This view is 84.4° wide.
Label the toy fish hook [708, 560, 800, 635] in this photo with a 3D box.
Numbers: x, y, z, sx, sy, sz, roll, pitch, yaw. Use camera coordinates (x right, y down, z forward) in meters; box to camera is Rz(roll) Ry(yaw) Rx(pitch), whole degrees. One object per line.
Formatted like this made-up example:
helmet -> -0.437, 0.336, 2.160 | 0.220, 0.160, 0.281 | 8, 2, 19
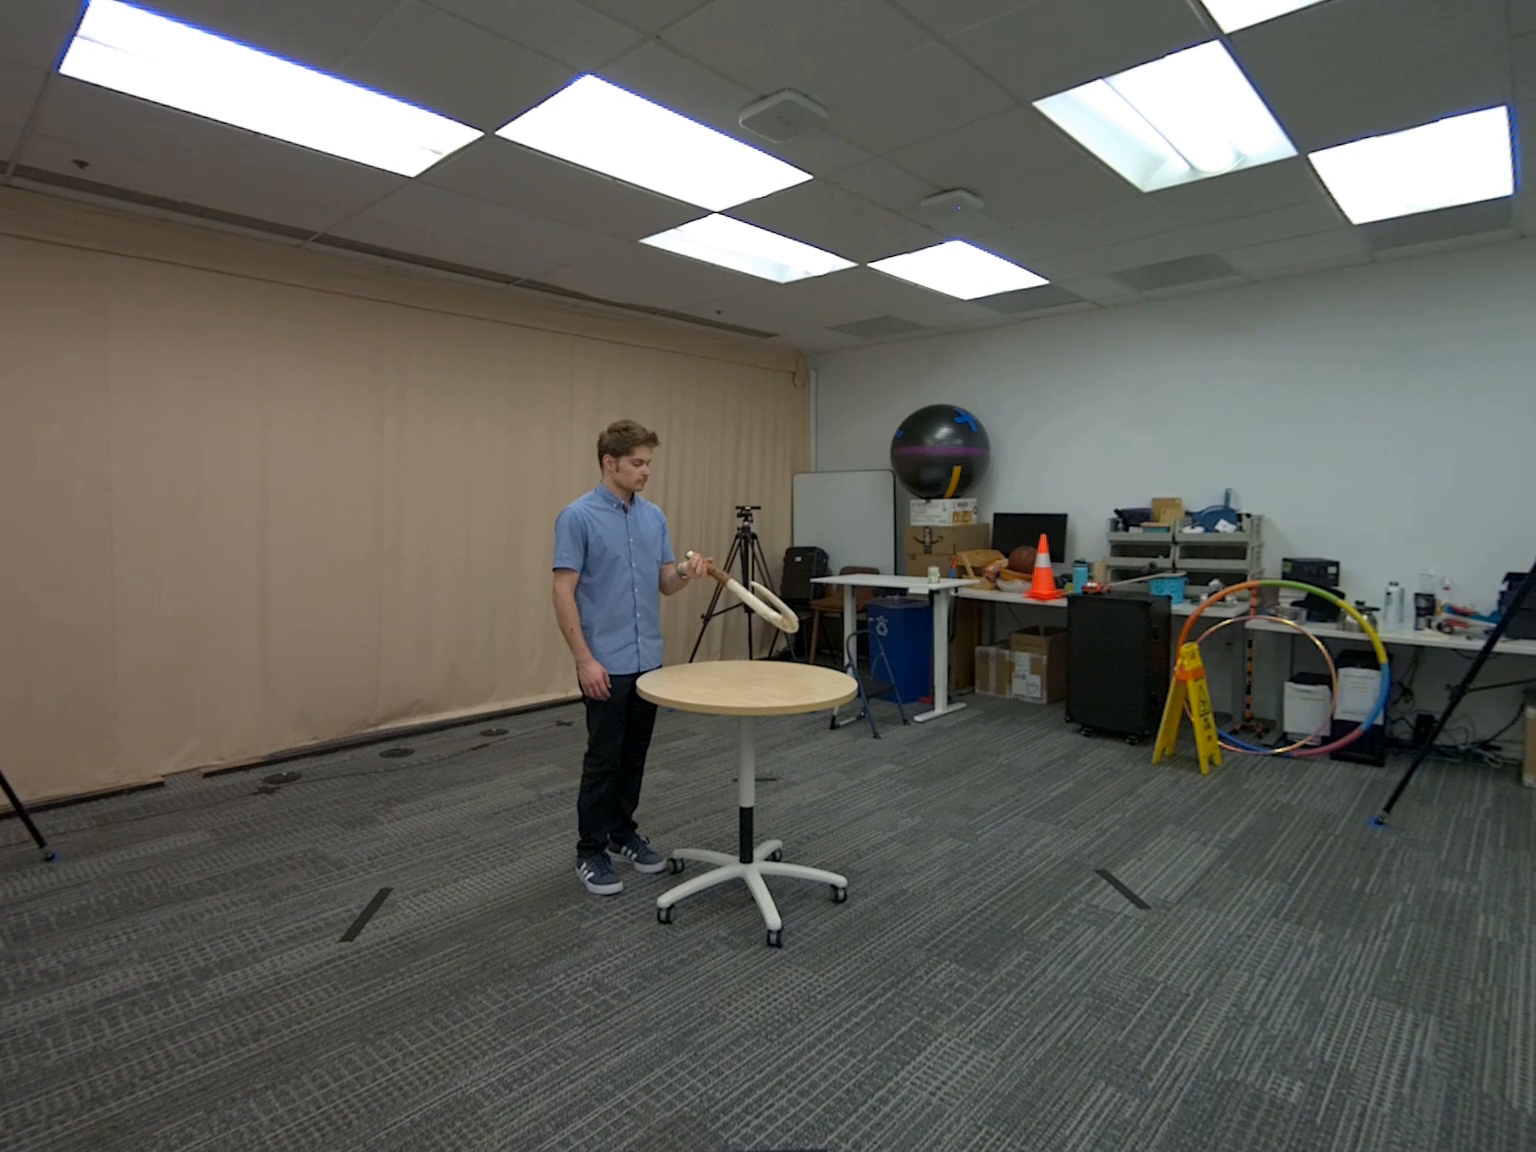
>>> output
toy fish hook -> -0.085, 0.028, 2.909 | 0.520, 0.048, 0.220 | 35, -23, 22
